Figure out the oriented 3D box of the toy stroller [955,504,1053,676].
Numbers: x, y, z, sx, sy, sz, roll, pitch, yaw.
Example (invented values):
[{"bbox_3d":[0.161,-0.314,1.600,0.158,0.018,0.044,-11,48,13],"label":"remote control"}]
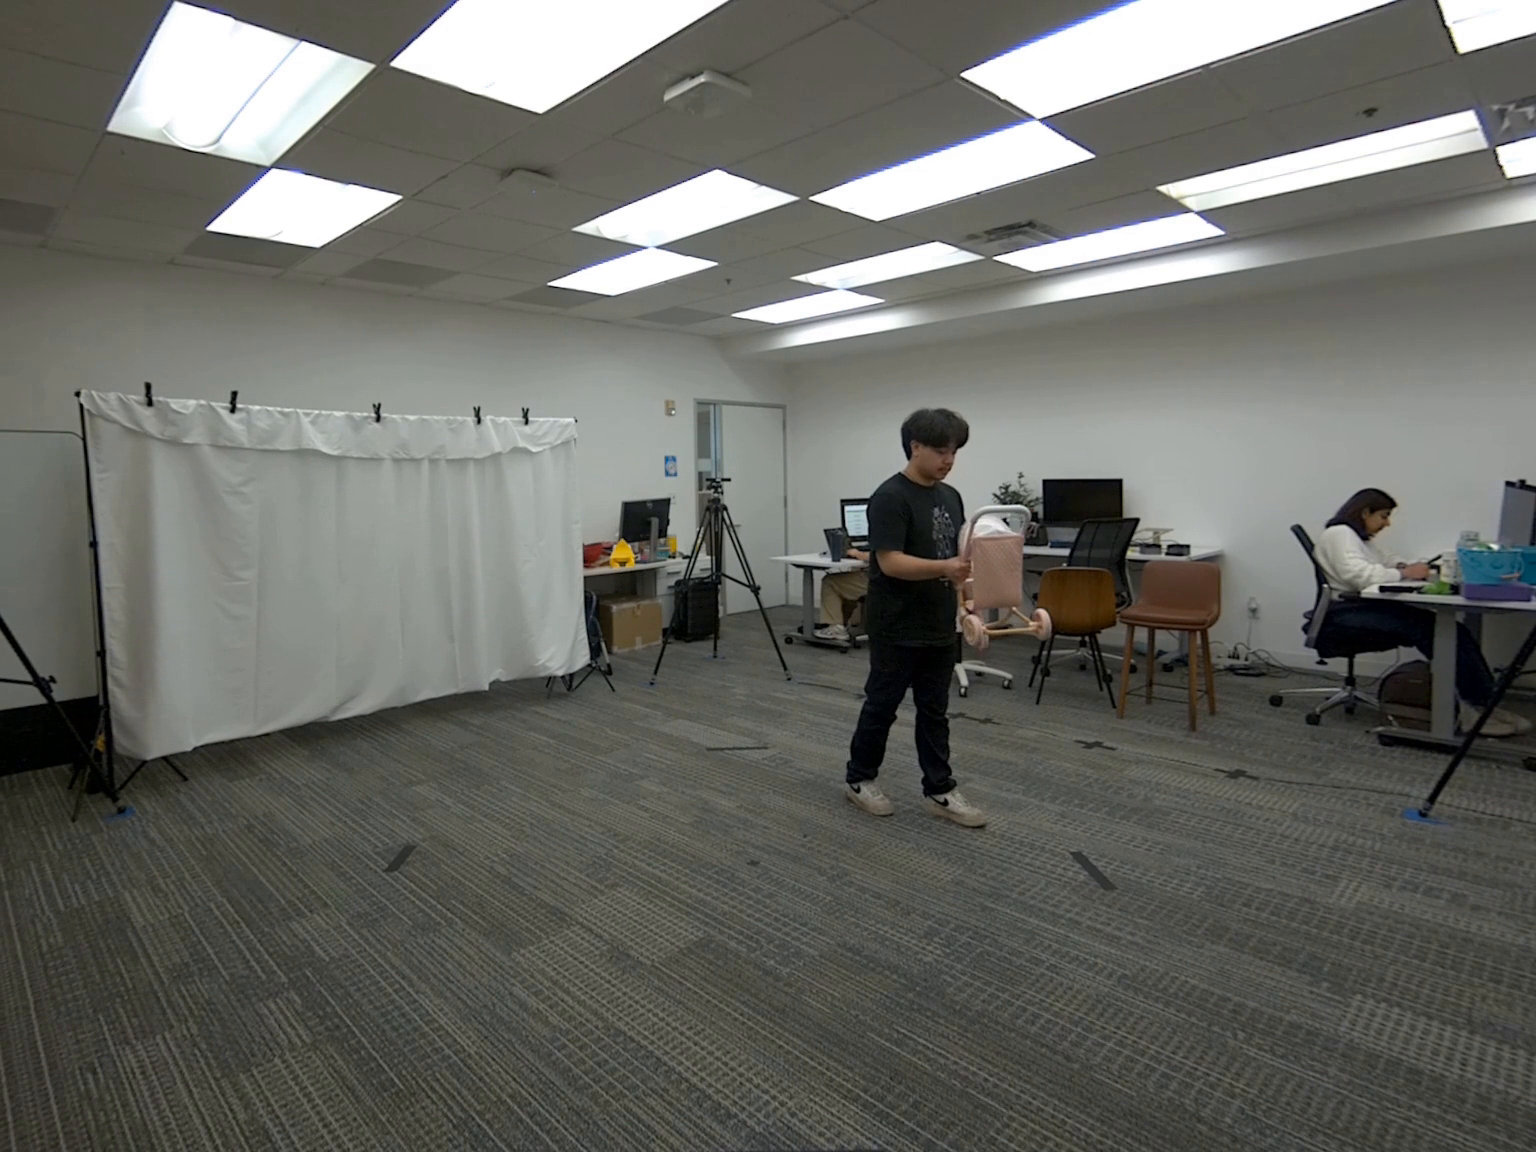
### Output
[{"bbox_3d":[0.811,0.021,3.074,0.281,0.534,0.342,-4,1,-3],"label":"toy stroller"}]
